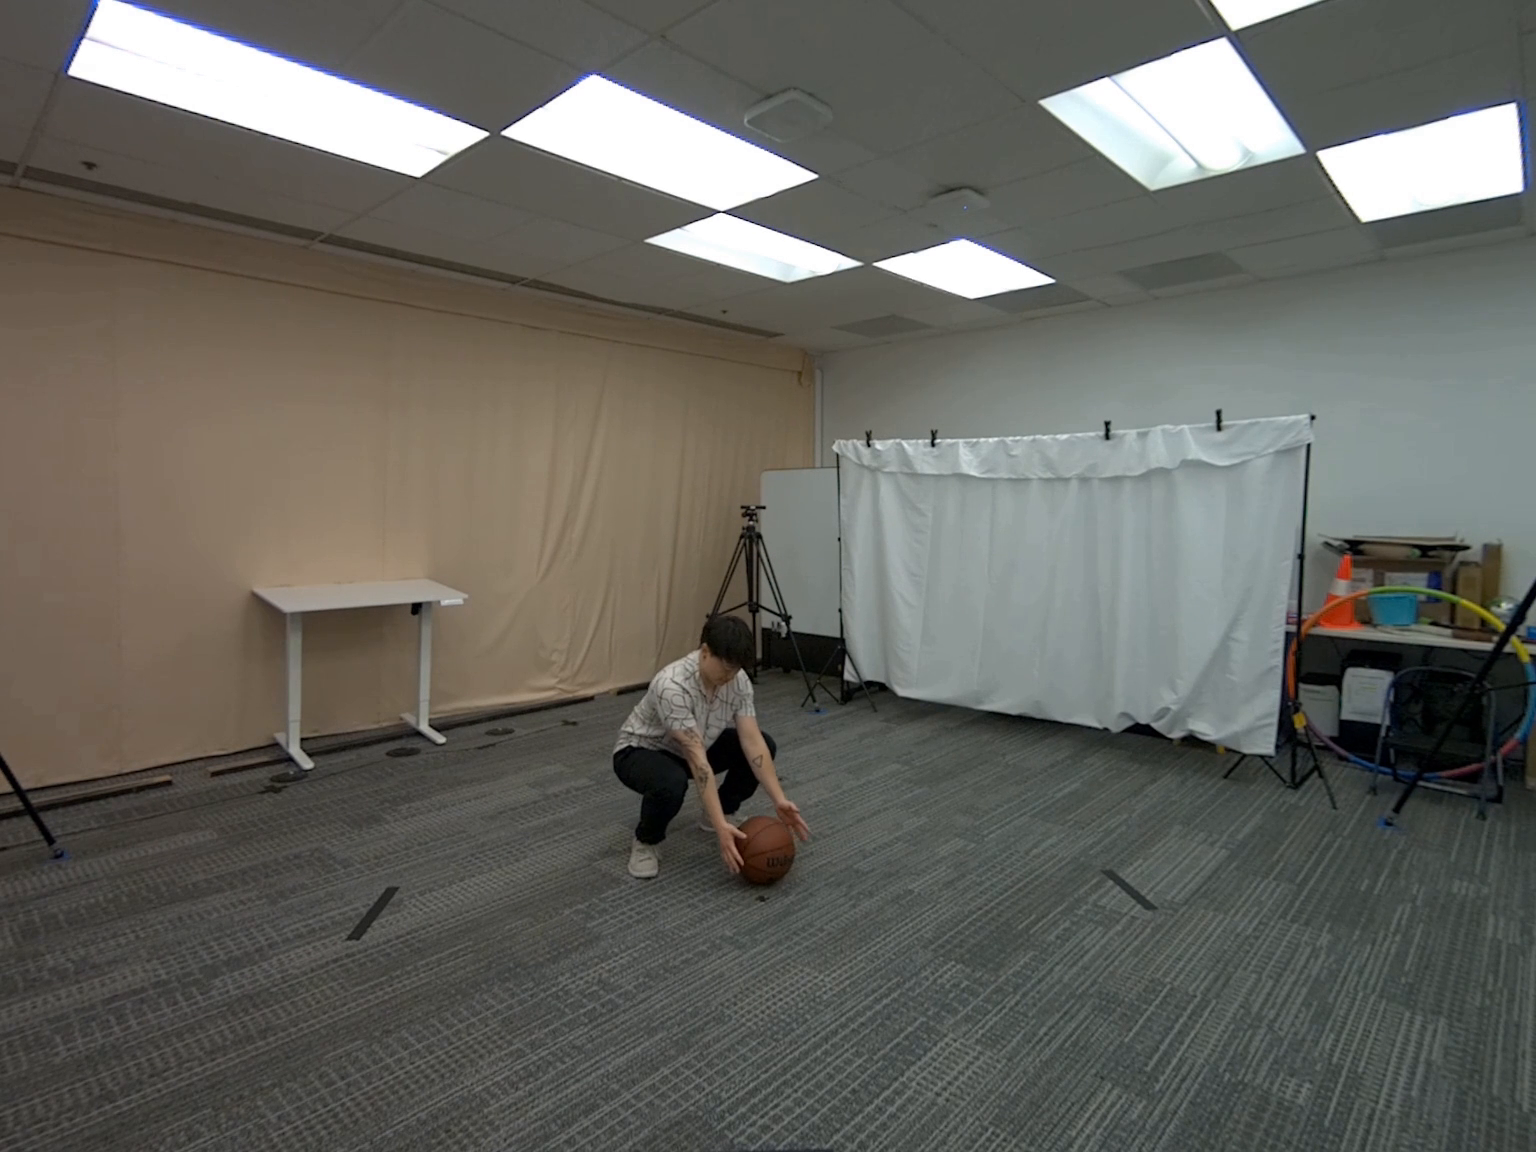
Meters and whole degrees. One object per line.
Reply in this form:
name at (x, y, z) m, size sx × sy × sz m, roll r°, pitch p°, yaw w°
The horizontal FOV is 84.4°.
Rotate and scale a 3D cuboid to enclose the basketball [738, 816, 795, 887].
basketball at (-0.024, 1.006, 3.112) m, size 0.236 × 0.235 × 0.237 m, roll 0°, pitch 4°, yaw -2°
